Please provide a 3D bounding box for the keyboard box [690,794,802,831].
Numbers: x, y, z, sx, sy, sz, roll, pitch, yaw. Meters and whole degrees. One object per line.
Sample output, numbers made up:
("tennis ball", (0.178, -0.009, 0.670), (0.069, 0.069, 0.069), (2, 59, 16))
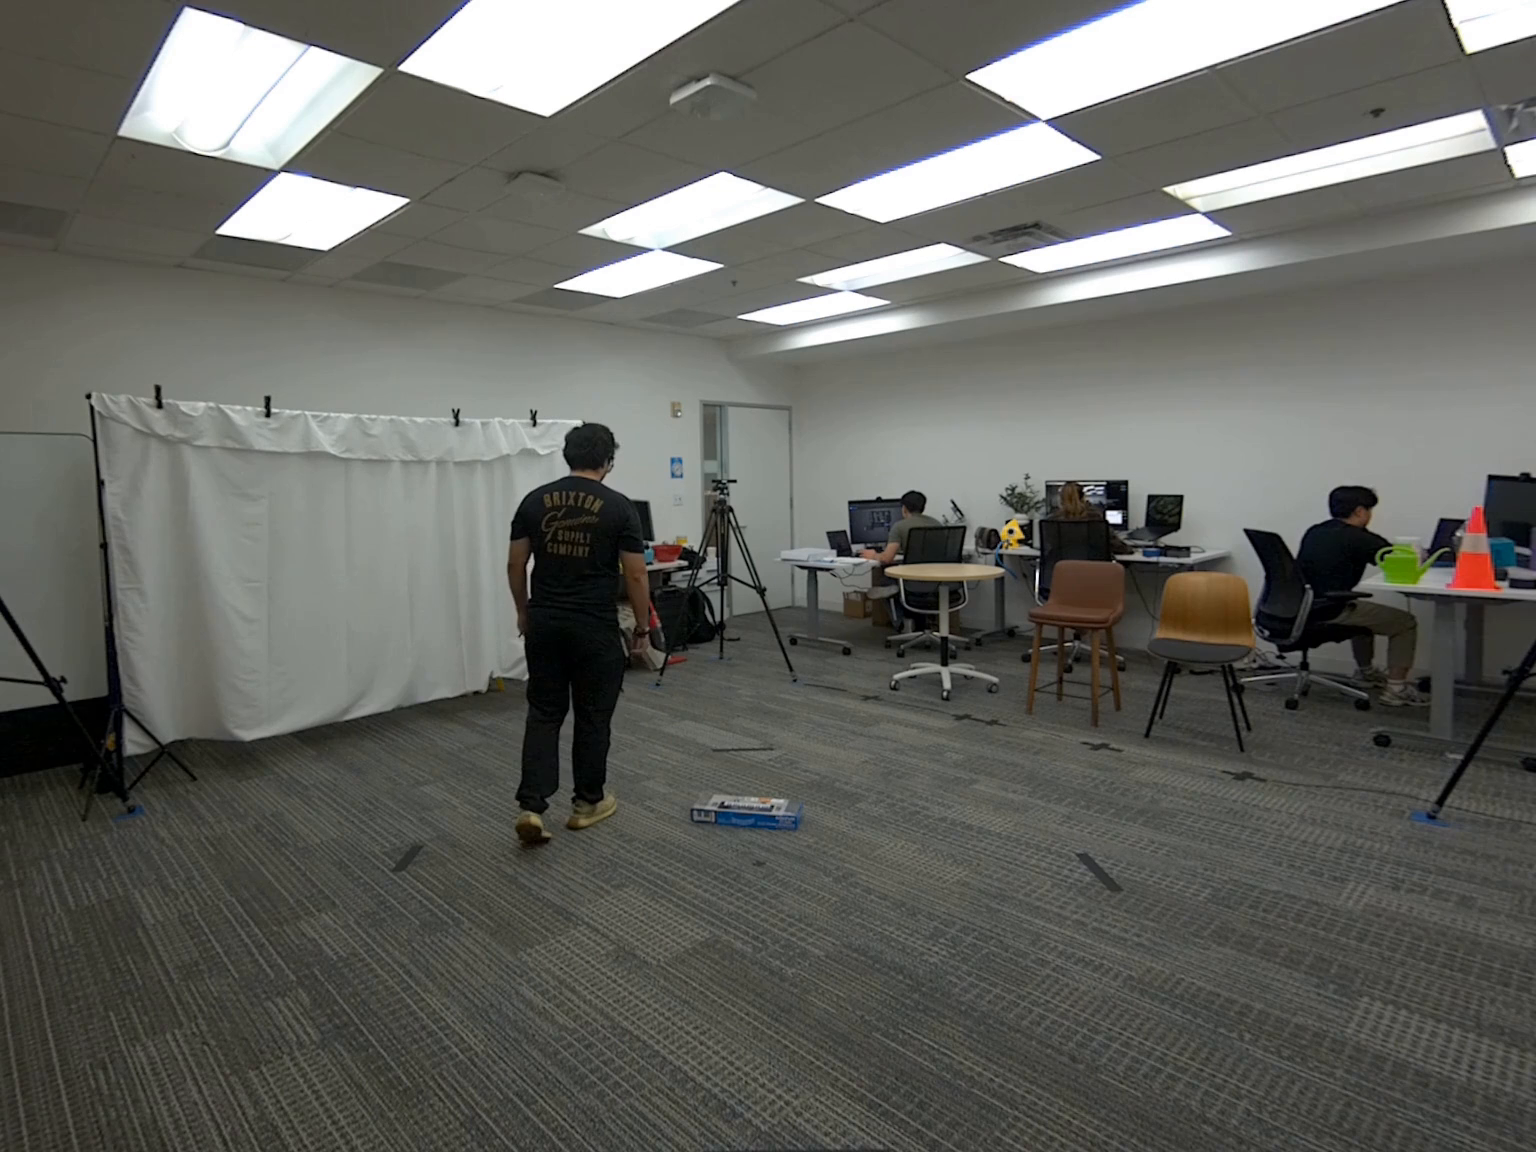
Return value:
("keyboard box", (-0.086, 0.967, 3.522), (0.443, 0.059, 0.174), (0, 5, 13))
